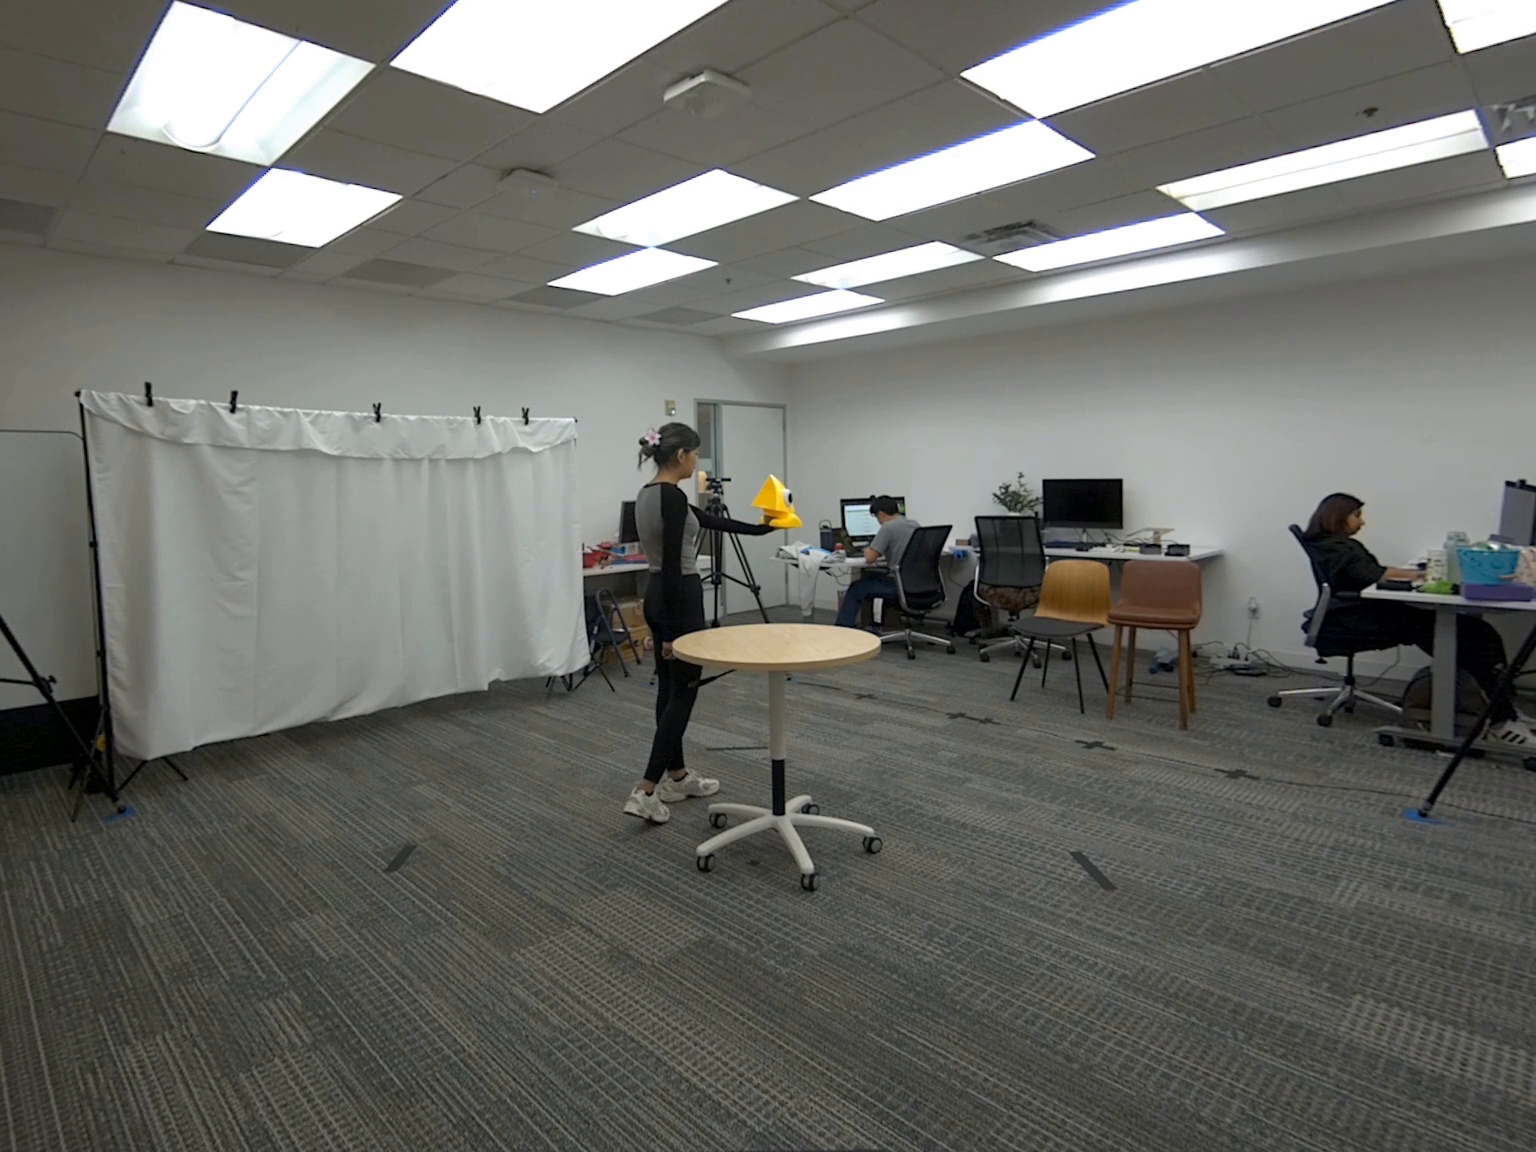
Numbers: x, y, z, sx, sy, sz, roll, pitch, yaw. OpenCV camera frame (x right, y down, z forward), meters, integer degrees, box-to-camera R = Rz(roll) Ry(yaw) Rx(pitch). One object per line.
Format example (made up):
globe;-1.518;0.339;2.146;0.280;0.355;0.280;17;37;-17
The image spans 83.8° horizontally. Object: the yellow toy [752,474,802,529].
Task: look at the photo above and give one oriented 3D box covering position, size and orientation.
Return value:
yellow toy;0.054;-0.352;3.942;0.188;0.229;0.211;-3;10;-35
